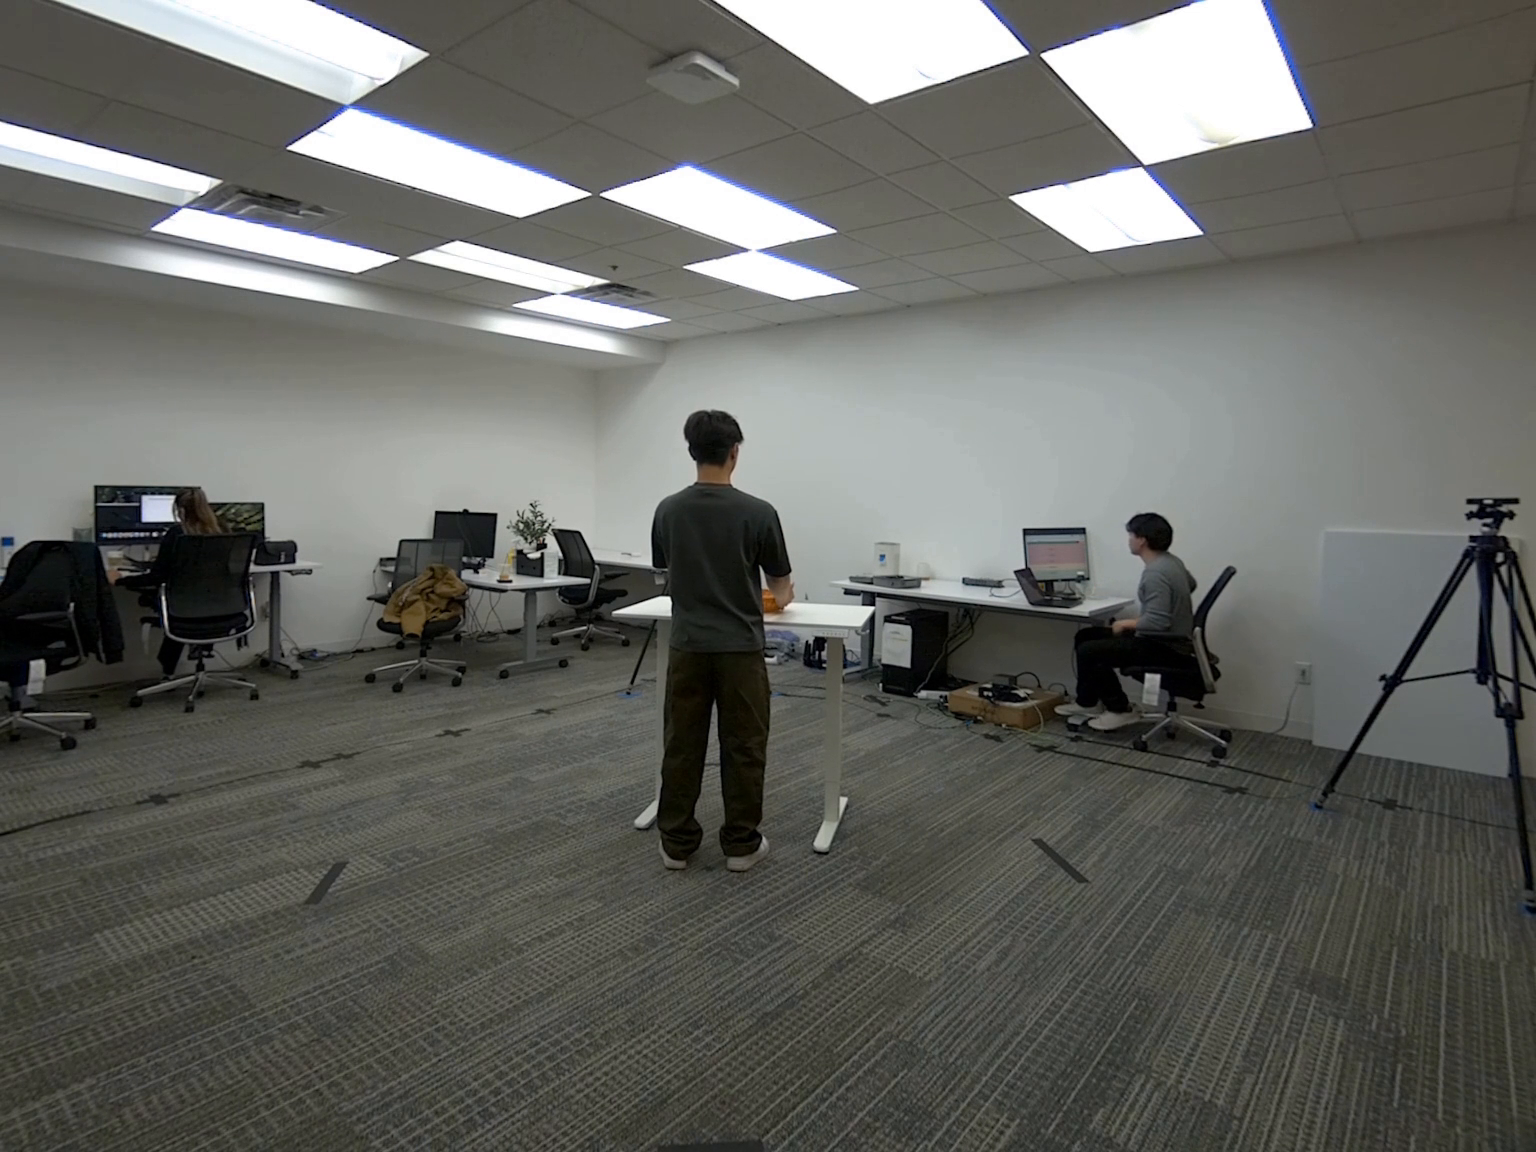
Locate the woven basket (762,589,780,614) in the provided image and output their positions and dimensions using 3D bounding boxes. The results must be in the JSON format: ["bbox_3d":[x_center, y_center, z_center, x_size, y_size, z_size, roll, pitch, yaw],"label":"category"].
[{"bbox_3d":[-0.089,0.100,3.585,0.358,0.073,0.248,3,5,18],"label":"woven basket"}]
